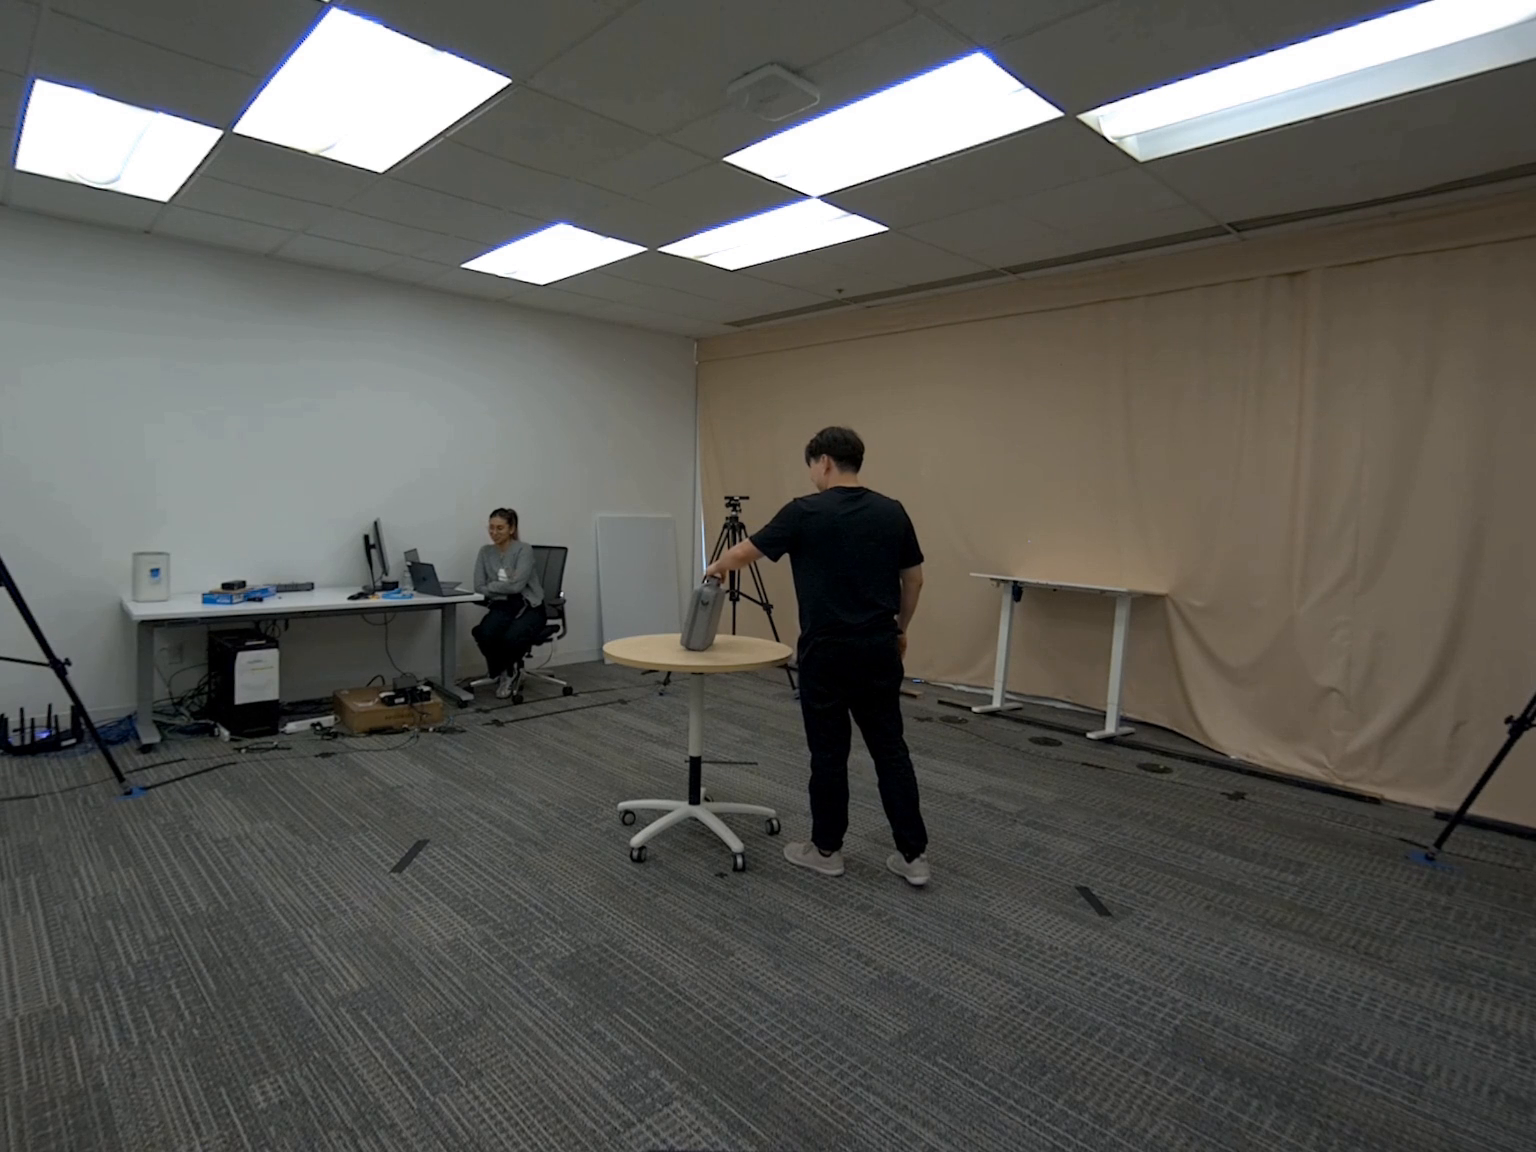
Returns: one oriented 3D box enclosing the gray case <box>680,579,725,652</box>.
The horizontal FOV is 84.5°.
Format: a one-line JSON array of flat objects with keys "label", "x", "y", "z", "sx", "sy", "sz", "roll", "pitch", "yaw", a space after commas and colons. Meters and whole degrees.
[{"label": "gray case", "x": -0.266, "y": 0.153, "z": 3.425, "sx": 0.105, "sy": 0.259, "sz": 0.256, "roll": 12, "pitch": 8, "yaw": 5}]
